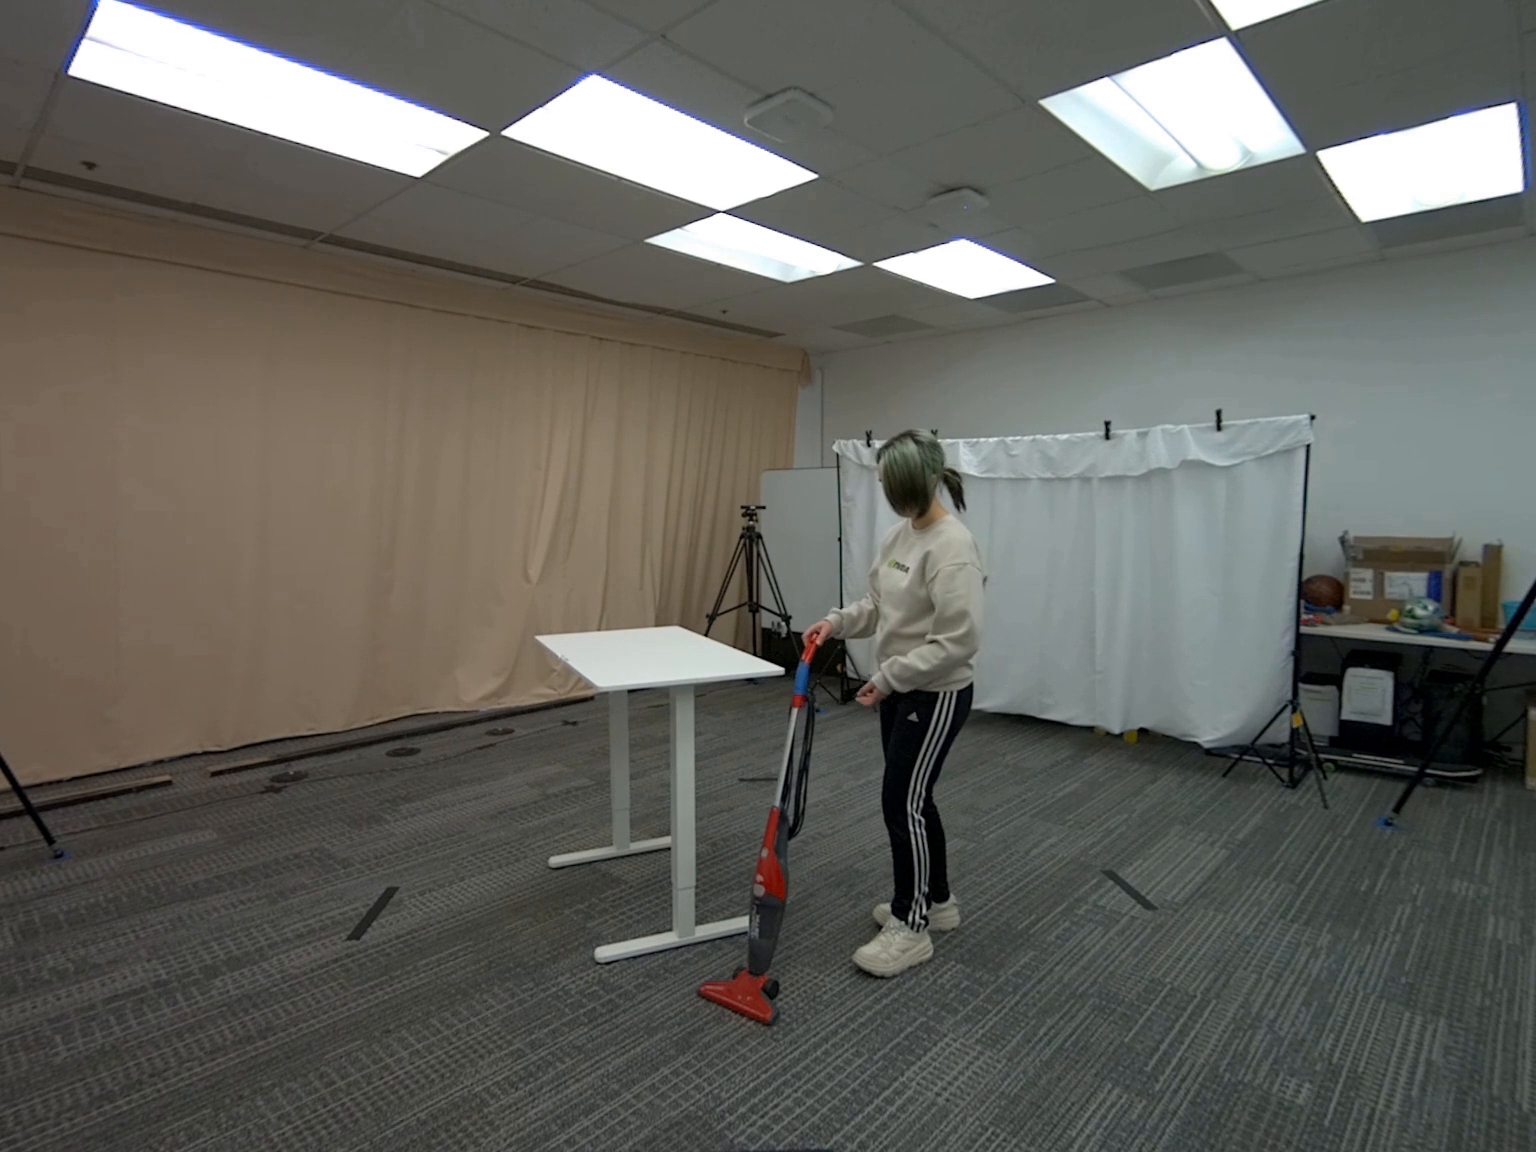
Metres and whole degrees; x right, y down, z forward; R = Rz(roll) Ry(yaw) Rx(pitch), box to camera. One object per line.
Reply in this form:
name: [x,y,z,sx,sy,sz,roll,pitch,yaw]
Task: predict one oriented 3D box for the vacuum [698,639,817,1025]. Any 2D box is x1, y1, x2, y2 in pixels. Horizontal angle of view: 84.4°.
vacuum: [0.059,0.704,2.513,0.261,1.055,0.139,0,-21,41]
